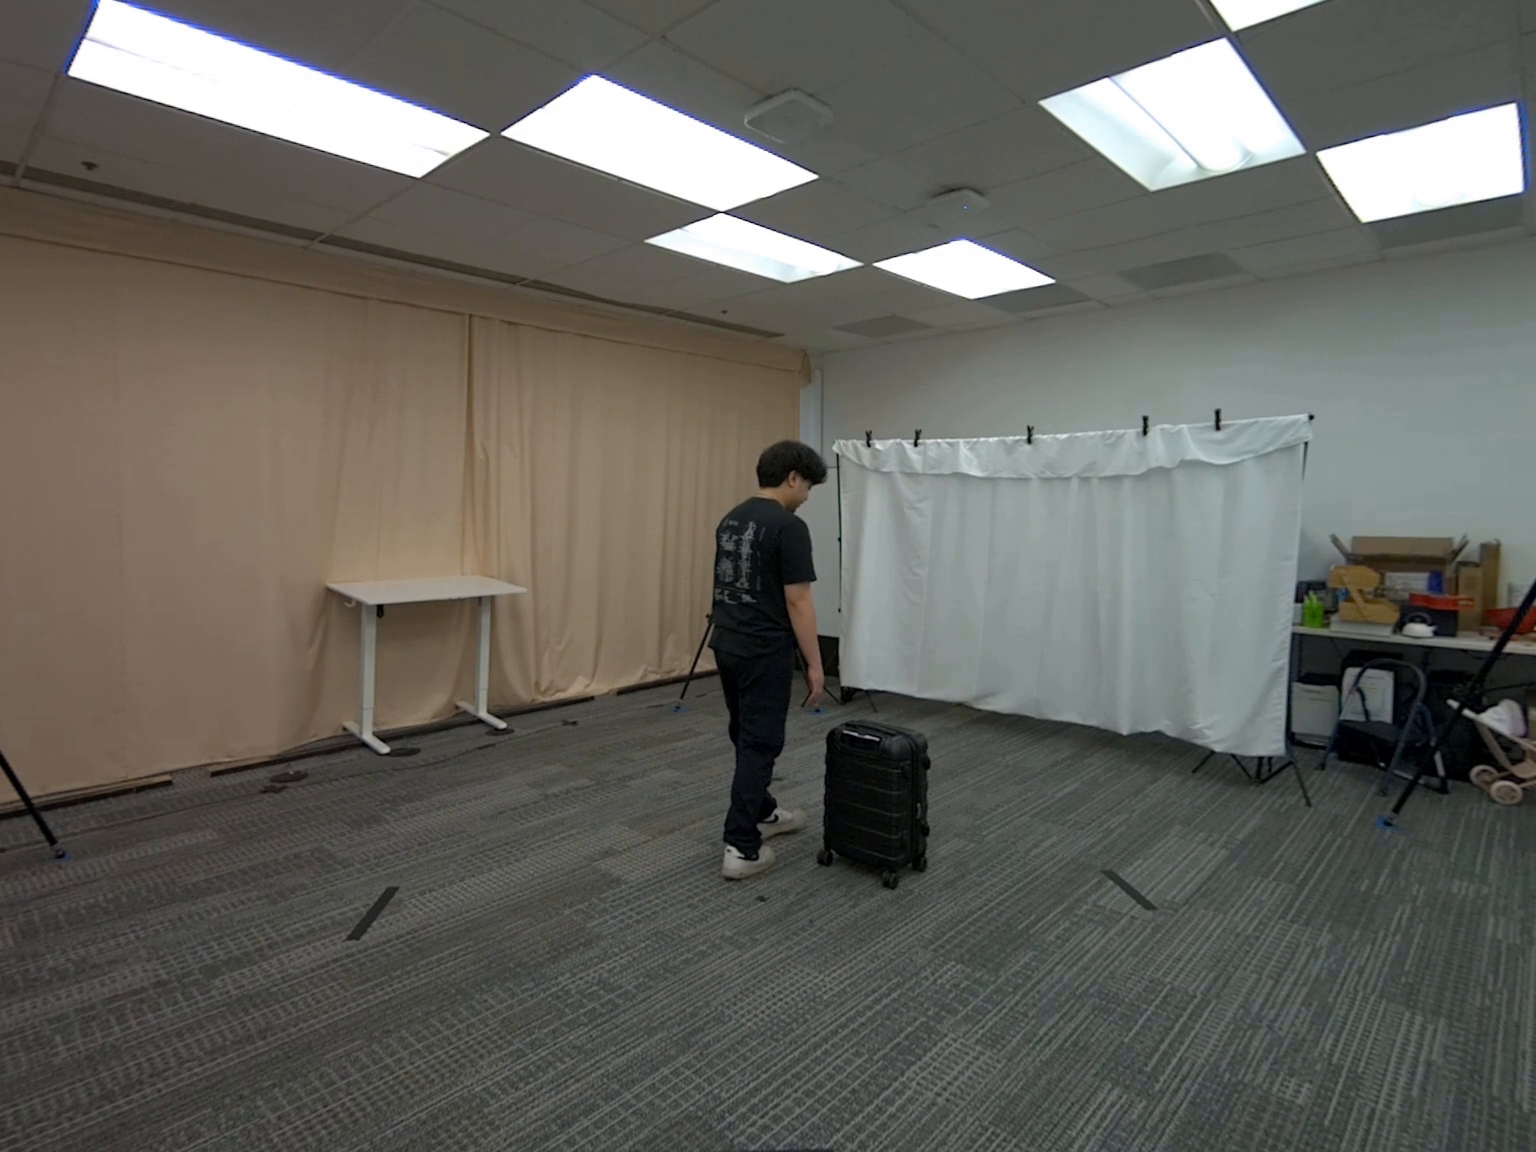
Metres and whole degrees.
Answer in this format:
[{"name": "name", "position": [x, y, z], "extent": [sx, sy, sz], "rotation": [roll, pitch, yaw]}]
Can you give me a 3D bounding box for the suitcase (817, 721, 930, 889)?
[{"name": "suitcase", "position": [0.416, 0.844, 3.247], "extent": [0.388, 0.549, 0.240], "rotation": [2, 1, 42]}]
